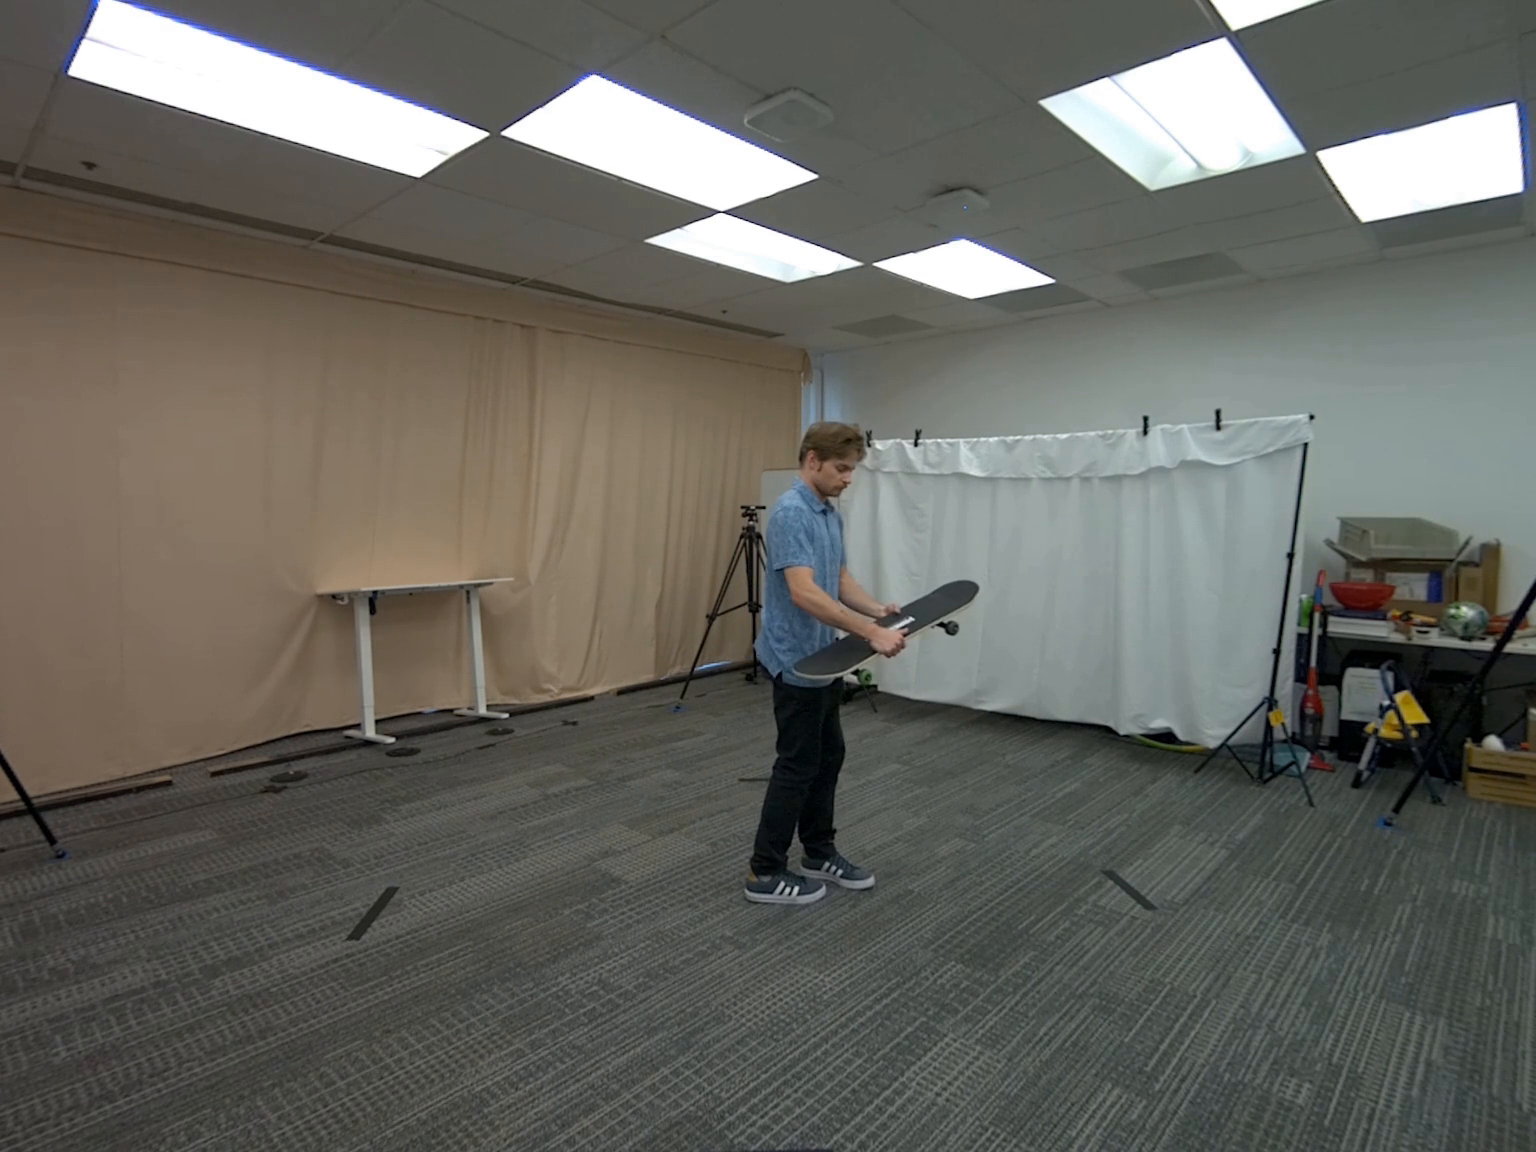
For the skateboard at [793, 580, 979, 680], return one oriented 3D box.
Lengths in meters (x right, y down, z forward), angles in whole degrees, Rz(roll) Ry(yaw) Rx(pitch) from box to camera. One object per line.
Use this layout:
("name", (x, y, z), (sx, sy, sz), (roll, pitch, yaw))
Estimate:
("skateboard", (0.434, 0.208, 2.833), (0.772, 0.109, 0.200), (-26, 21, -28))
